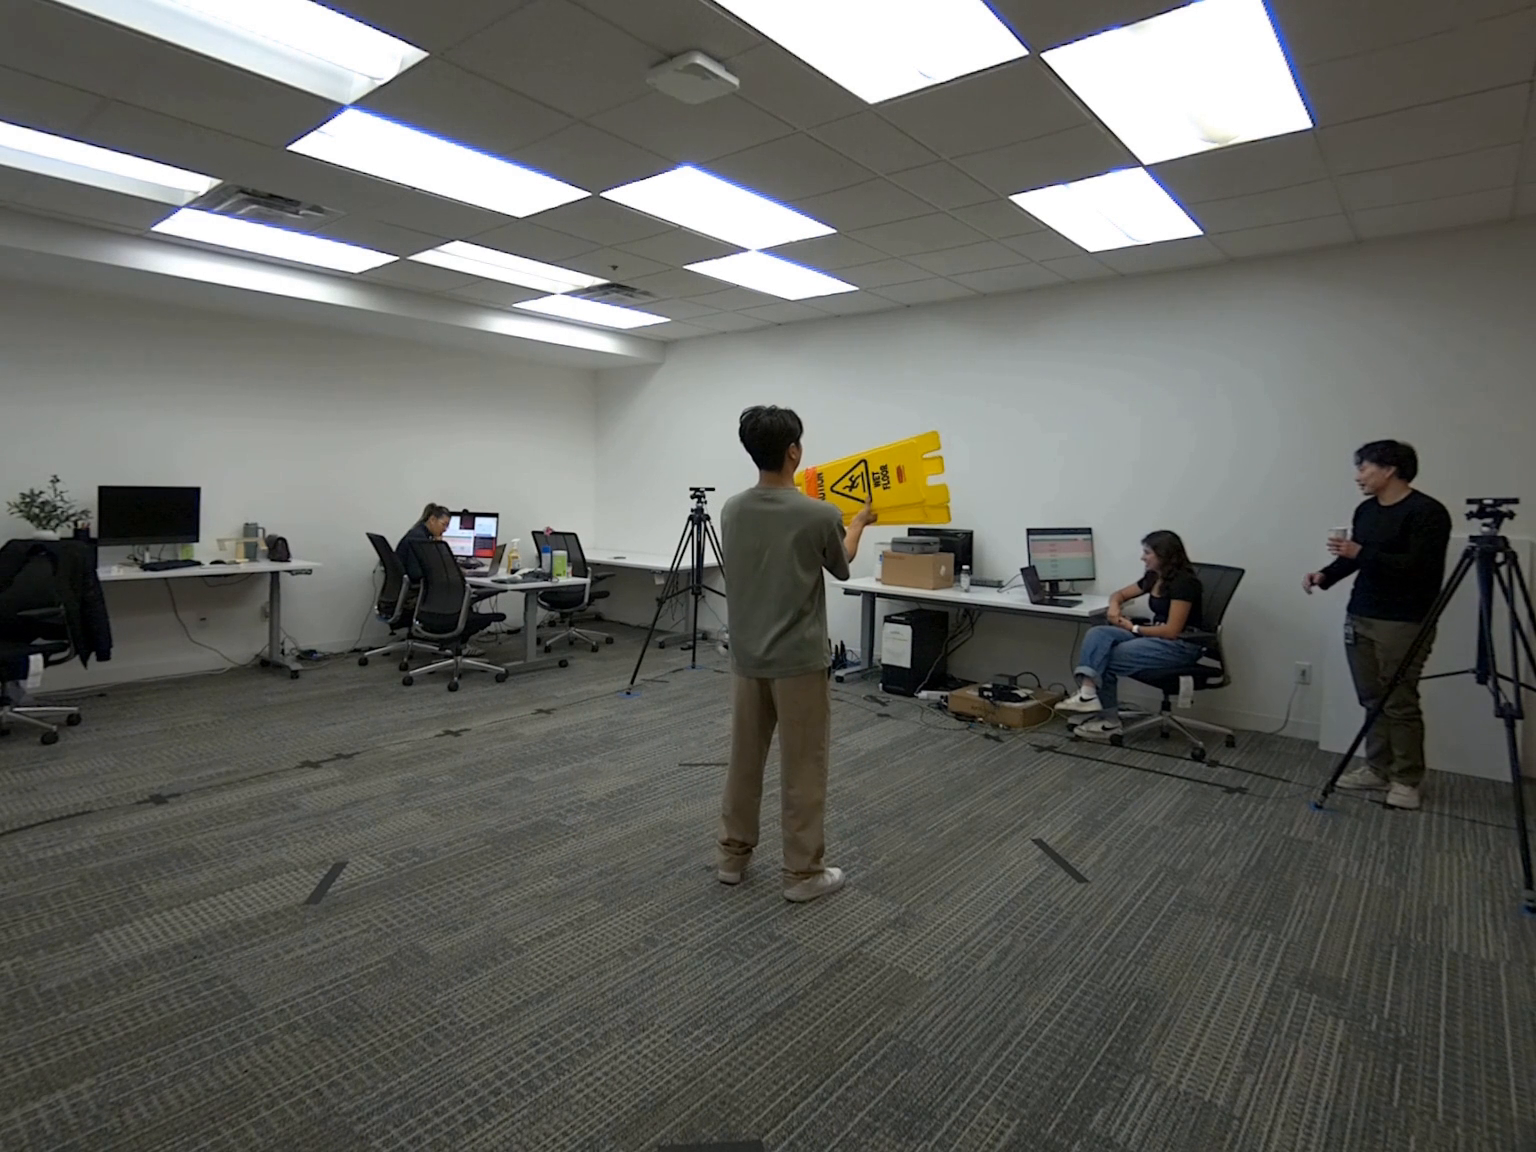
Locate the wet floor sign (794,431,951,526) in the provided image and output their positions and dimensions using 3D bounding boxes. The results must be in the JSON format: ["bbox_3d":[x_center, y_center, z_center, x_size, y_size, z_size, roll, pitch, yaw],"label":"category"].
[{"bbox_3d":[0.353,-0.339,3.323,0.654,0.286,0.282,-8,-14,14],"label":"wet floor sign"}]
